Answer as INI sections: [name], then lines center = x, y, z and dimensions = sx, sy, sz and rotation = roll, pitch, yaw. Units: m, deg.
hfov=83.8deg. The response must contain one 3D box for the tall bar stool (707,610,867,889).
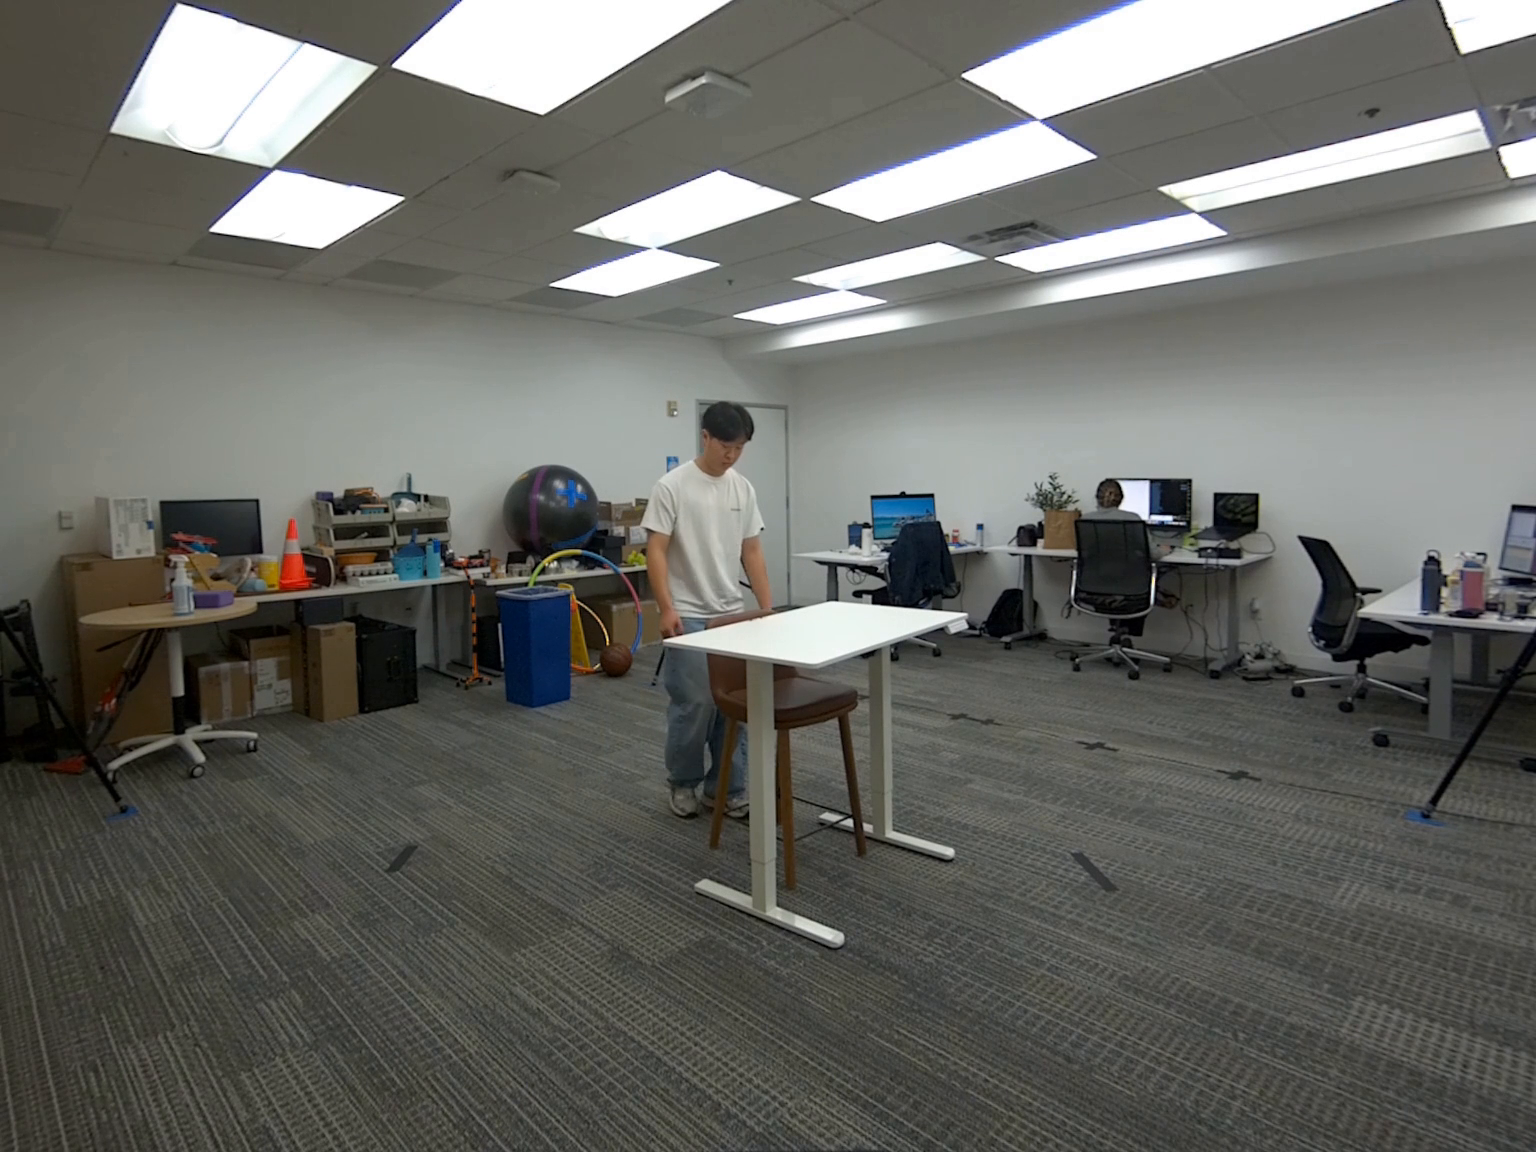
[tall bar stool]
center = 0.054, 0.597, 3.187
dimensions = 0.444, 0.888, 0.481
rotation = -4, 3, -42
